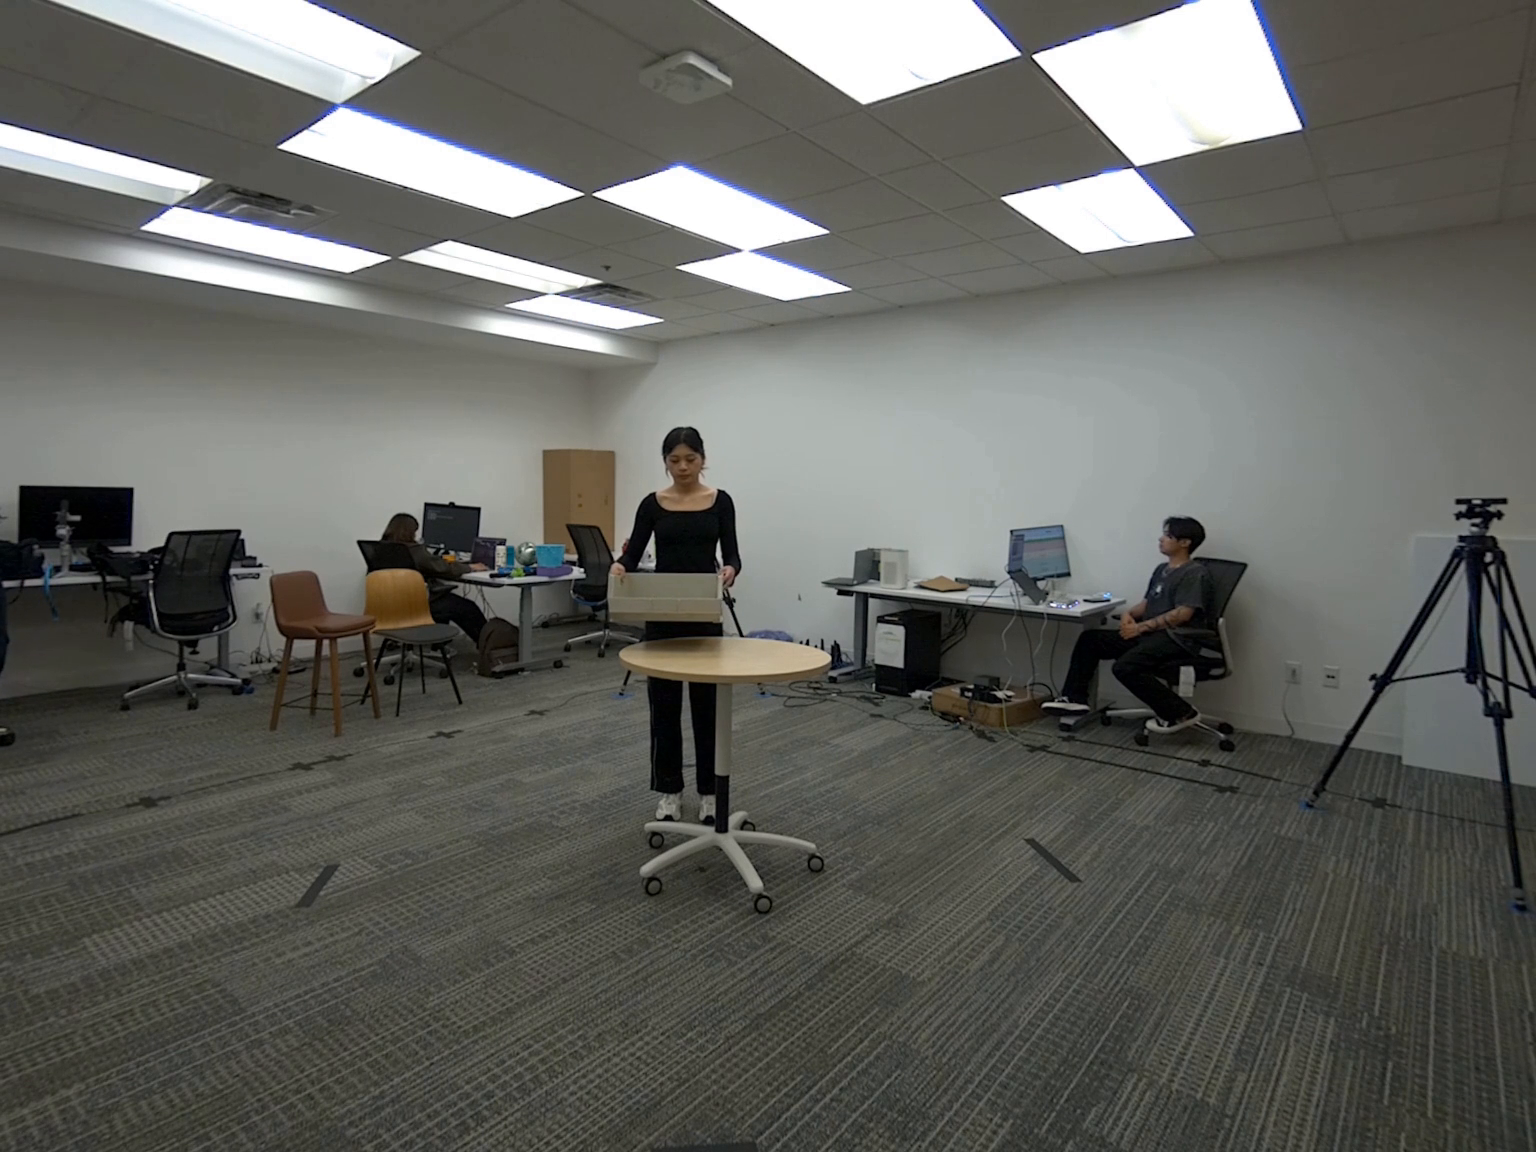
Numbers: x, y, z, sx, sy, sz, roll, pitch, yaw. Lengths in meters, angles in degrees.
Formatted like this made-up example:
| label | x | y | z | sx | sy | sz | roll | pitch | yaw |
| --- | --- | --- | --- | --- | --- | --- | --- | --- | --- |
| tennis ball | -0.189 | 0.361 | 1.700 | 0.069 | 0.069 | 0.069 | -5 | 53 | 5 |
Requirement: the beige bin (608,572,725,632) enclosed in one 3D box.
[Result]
| label | x | y | z | sx | sy | sz | roll | pitch | yaw |
| --- | --- | --- | --- | --- | --- | --- | --- | --- | --- |
| beige bin | -0.398 | 0.082 | 3.253 | 0.423 | 0.189 | 0.376 | 0 | -2 | 1 |
